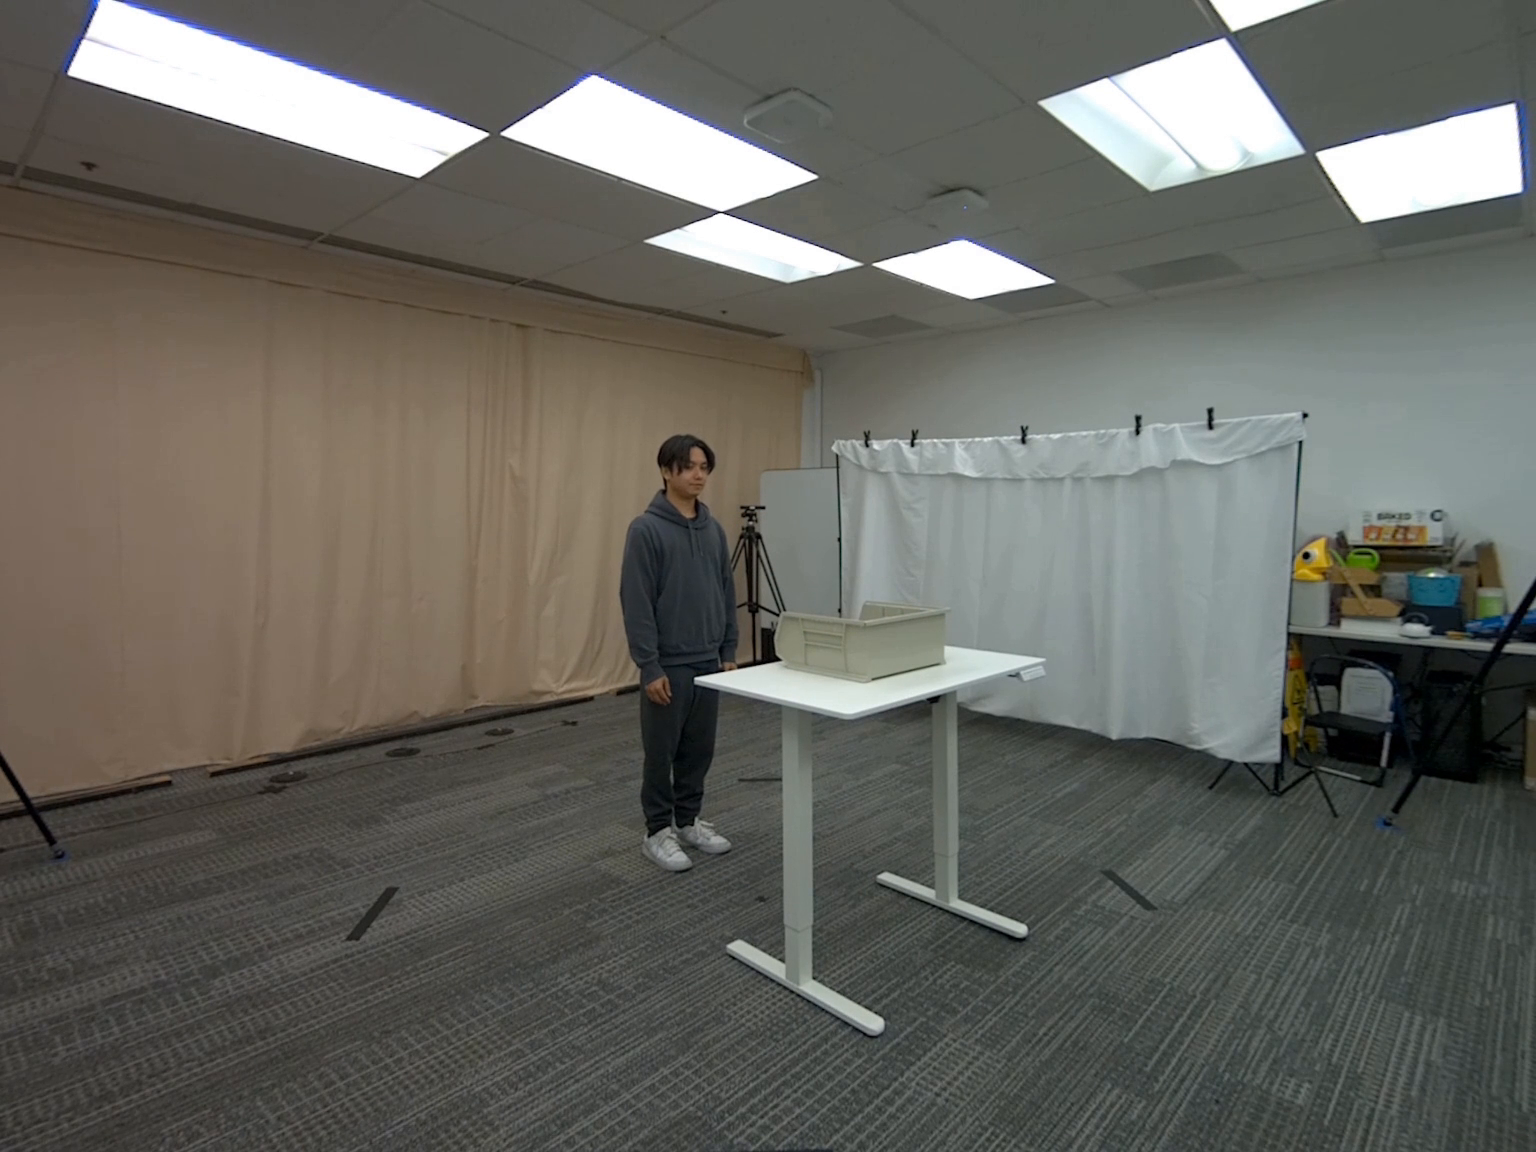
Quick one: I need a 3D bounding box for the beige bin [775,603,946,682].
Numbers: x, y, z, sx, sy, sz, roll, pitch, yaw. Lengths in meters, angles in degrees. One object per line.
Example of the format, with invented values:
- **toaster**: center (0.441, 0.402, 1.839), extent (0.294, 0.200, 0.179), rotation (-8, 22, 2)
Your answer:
- **beige bin**: center (0.304, 0.199, 2.673), extent (0.409, 0.188, 0.390), rotation (-5, 7, -43)
